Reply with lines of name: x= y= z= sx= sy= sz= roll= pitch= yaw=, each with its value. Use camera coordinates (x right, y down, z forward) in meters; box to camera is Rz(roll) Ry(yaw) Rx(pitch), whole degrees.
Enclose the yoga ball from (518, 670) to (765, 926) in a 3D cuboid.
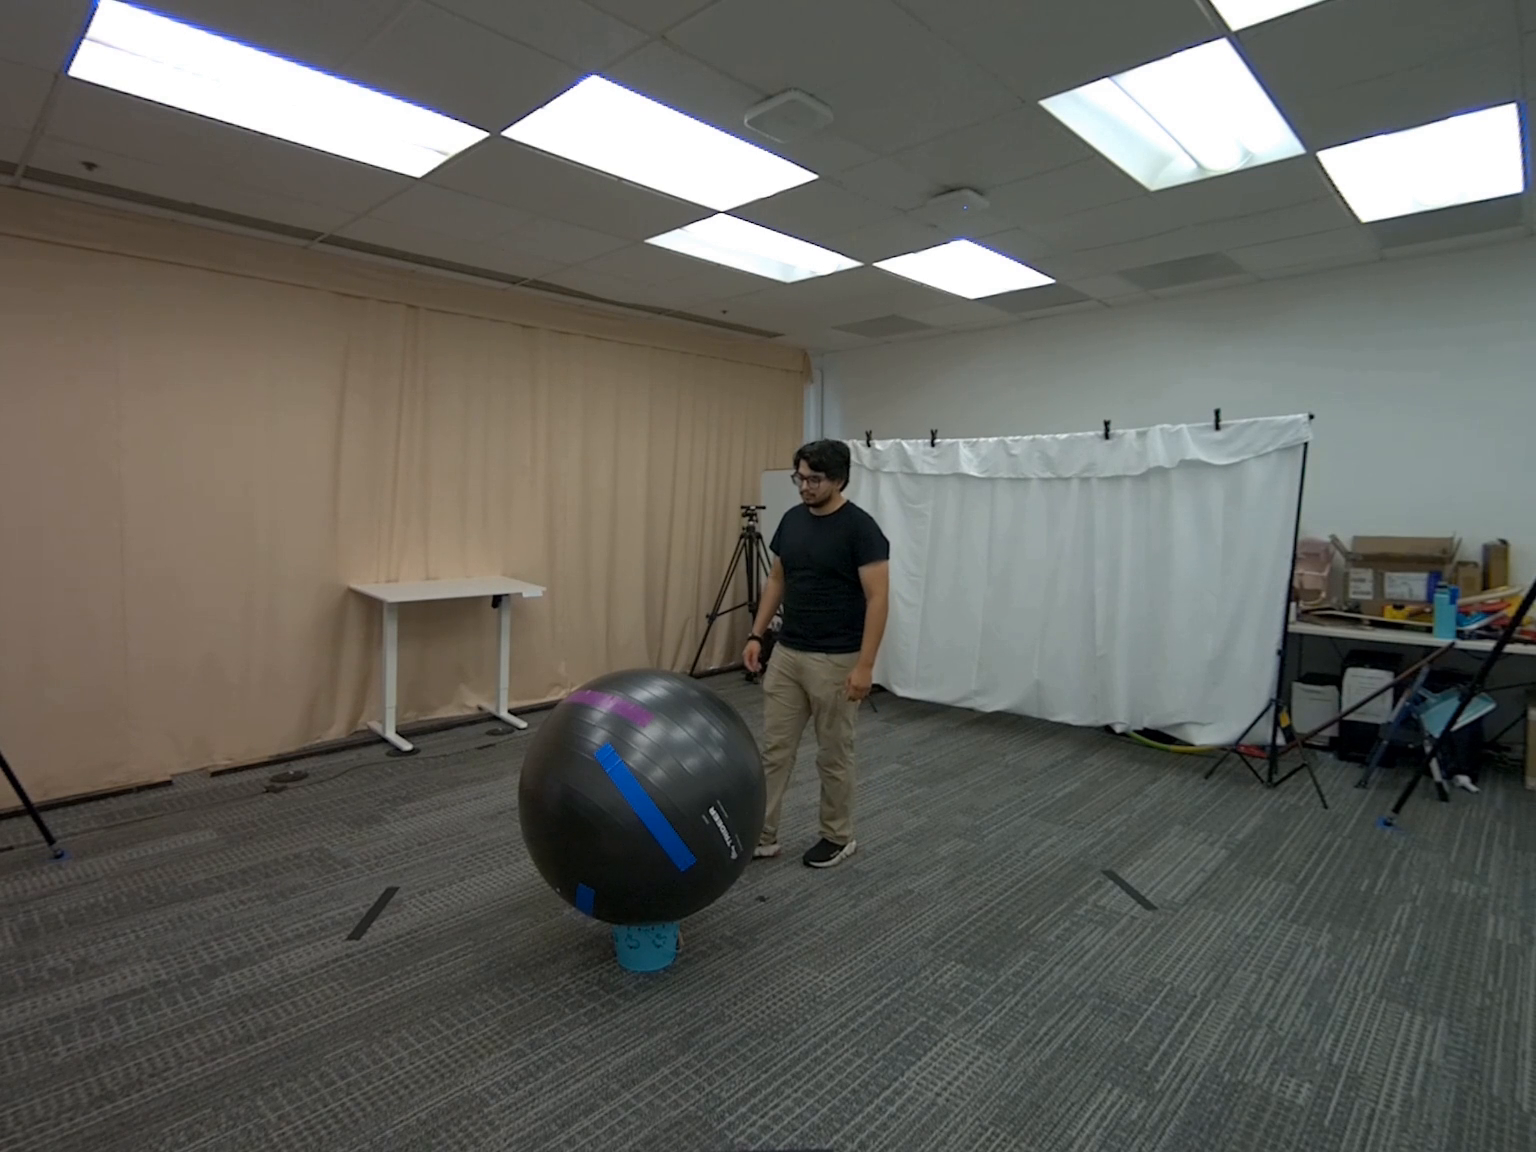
yoga ball: x=-0.384 y=0.671 z=2.594 sx=0.757 sy=0.756 sz=0.760 roll=0 pitch=4 yaw=-2
